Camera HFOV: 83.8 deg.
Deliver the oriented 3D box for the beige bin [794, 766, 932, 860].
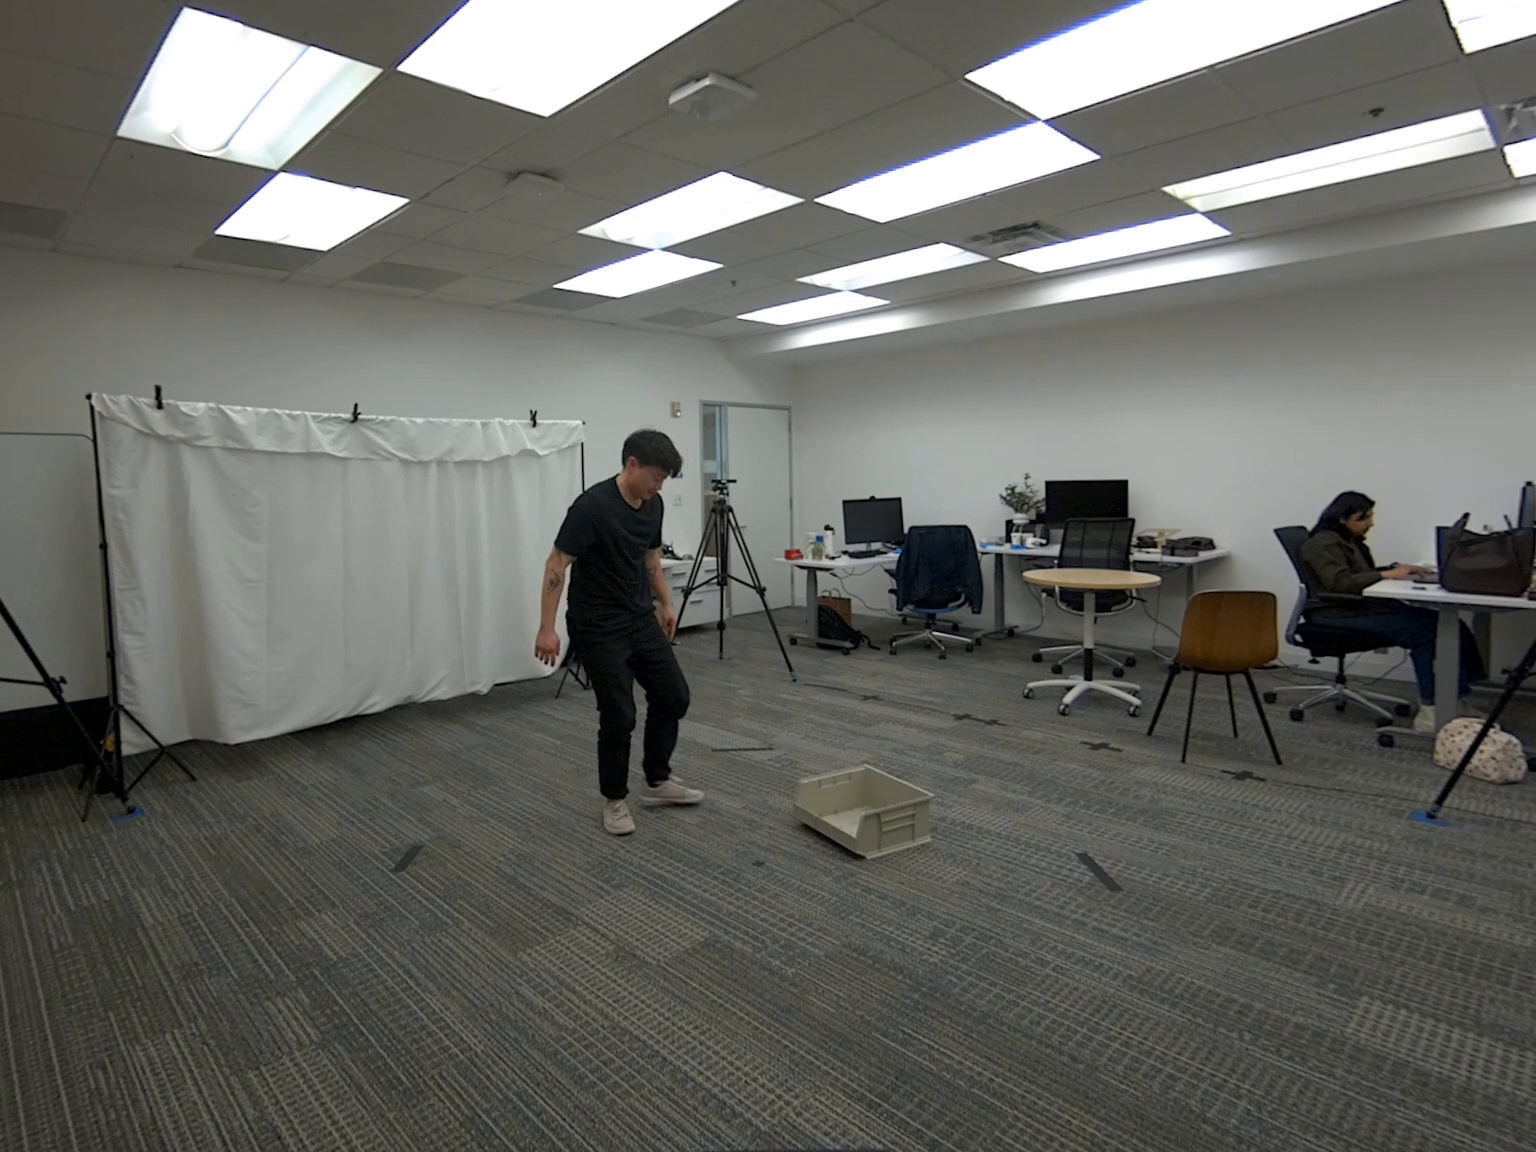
[{"bbox_3d":[0.374,0.926,3.362,0.368,0.188,0.434,-4,6,-31],"label":"beige bin"}]
